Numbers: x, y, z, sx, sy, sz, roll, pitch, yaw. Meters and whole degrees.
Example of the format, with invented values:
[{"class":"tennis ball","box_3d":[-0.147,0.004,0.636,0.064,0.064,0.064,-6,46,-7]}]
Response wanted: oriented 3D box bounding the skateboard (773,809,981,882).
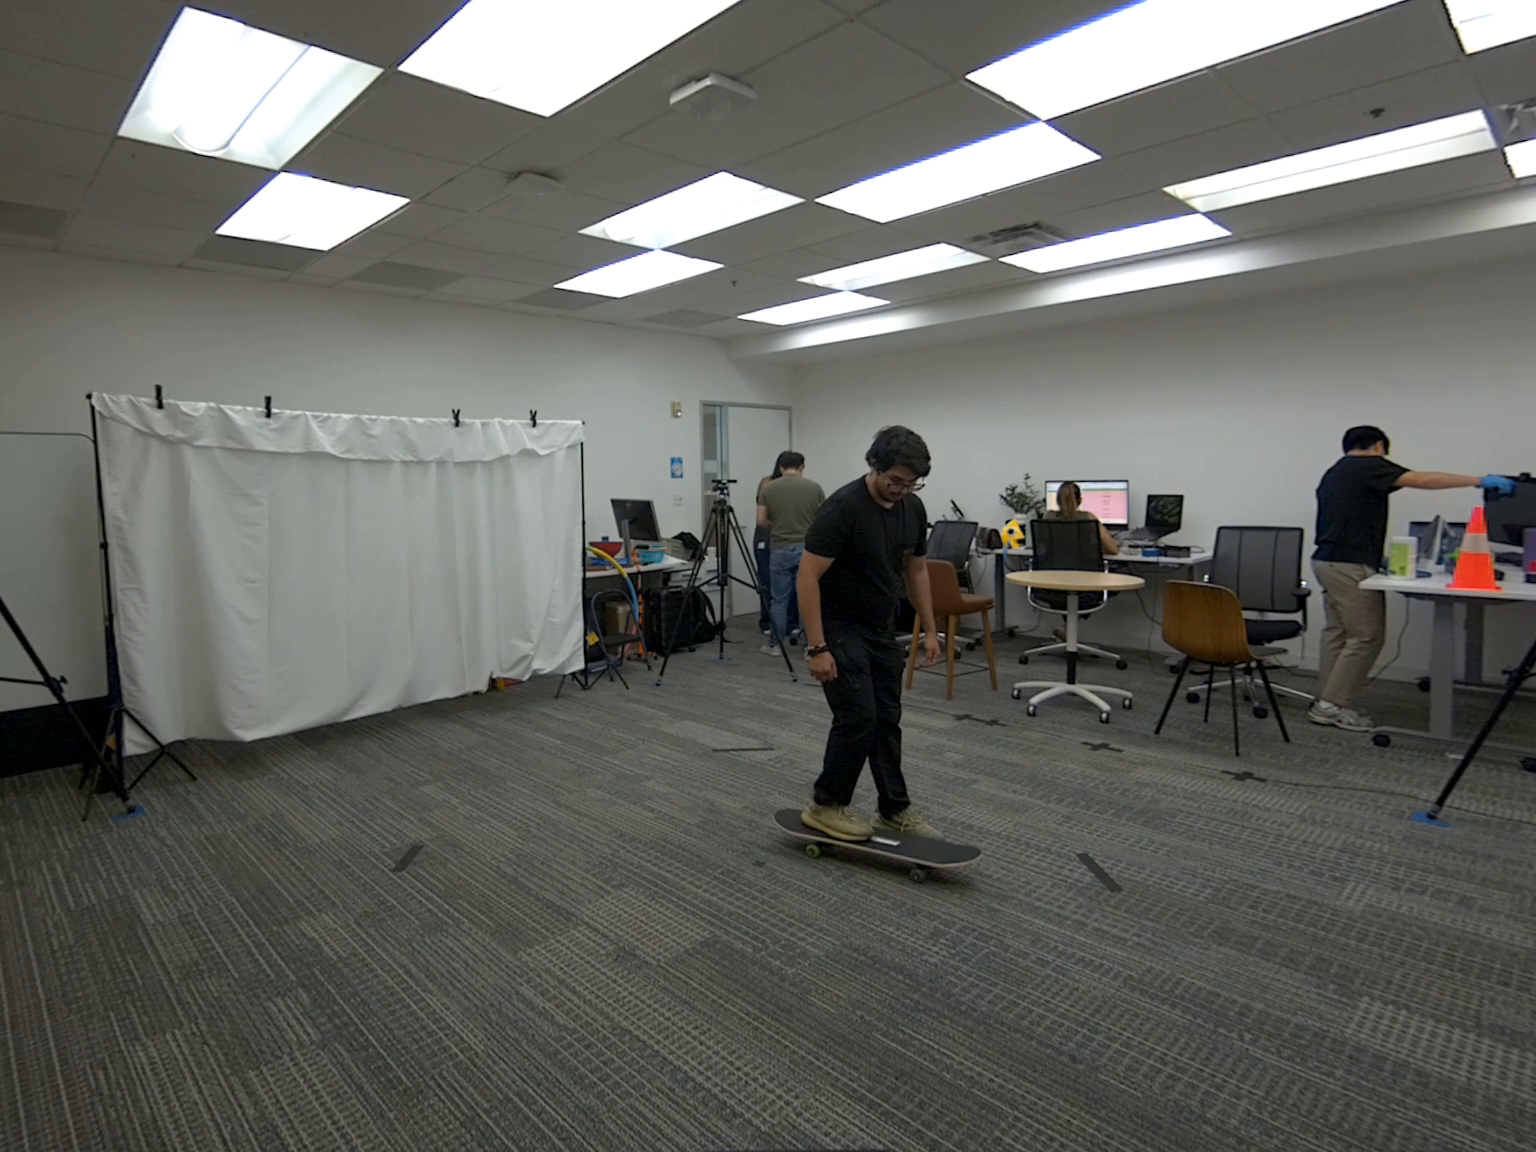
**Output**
[{"class":"skateboard","box_3d":[0.382,0.987,3.114,0.806,0.110,0.189,2,6,31]}]
